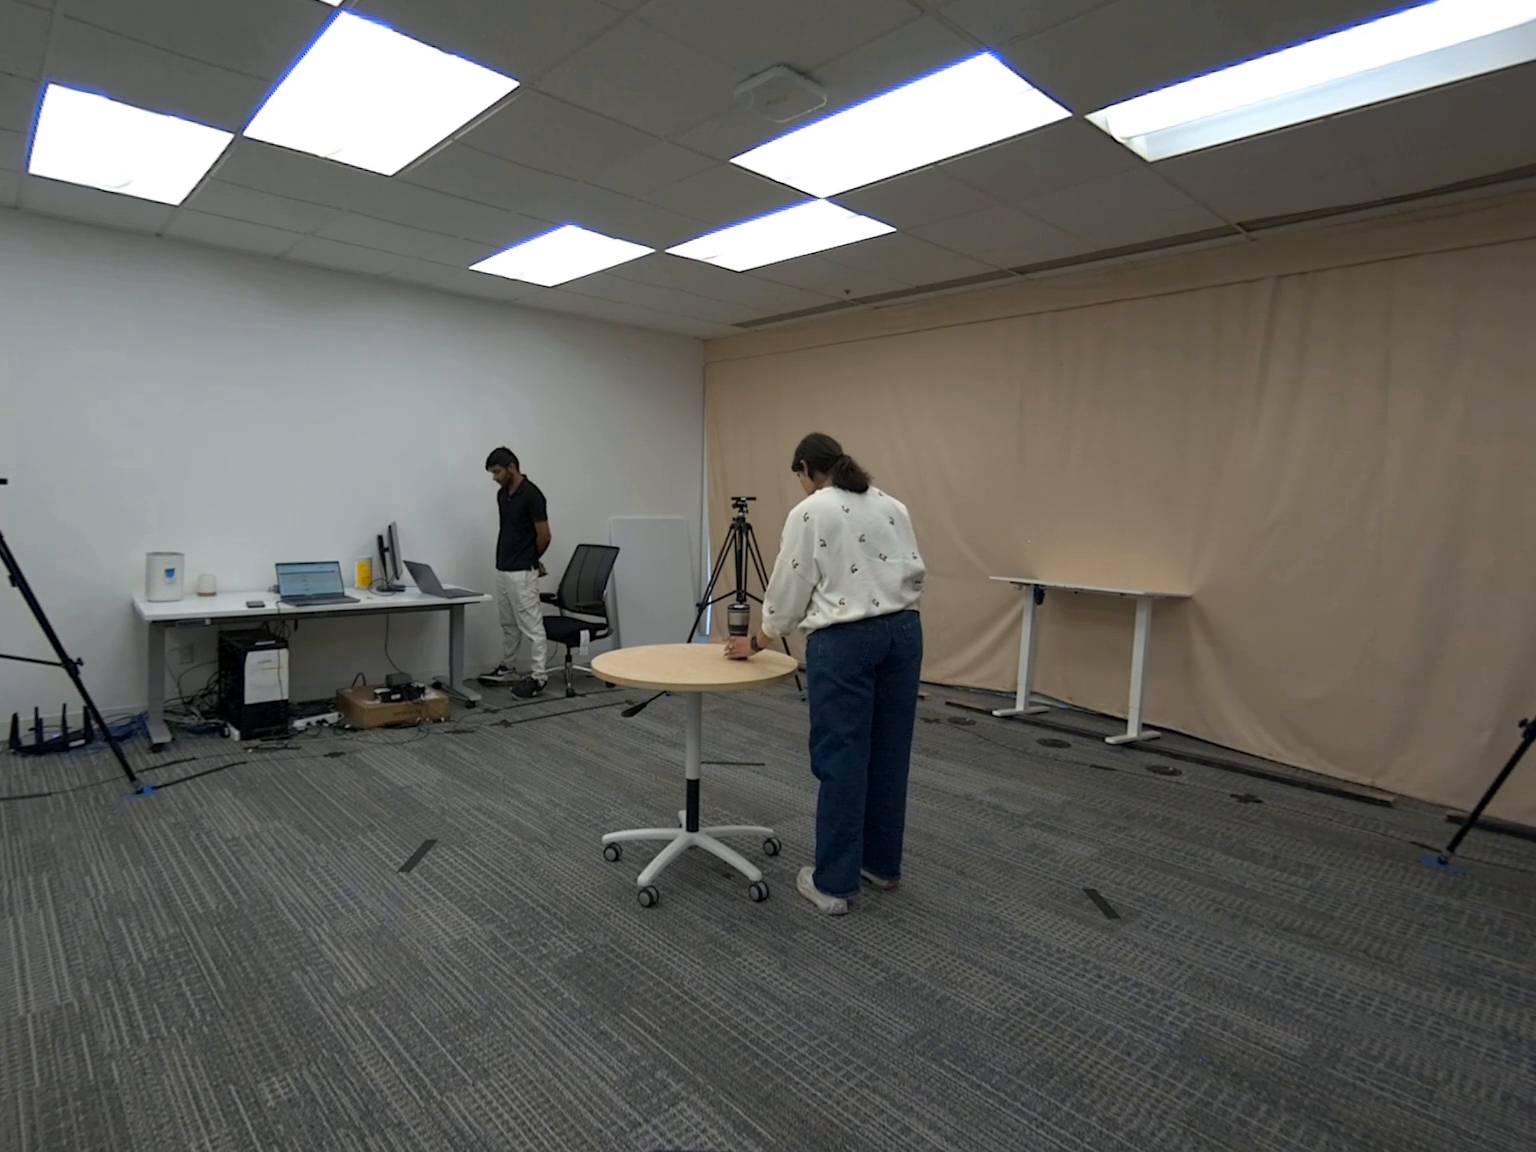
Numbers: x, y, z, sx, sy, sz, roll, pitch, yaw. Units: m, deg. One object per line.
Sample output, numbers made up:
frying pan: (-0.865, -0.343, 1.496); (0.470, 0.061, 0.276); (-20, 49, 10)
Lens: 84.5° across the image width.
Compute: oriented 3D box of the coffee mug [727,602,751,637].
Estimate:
coffee mug: (-0.102, 0.209, 3.222); (0.090, 0.202, 0.120); (4, 10, 36)
